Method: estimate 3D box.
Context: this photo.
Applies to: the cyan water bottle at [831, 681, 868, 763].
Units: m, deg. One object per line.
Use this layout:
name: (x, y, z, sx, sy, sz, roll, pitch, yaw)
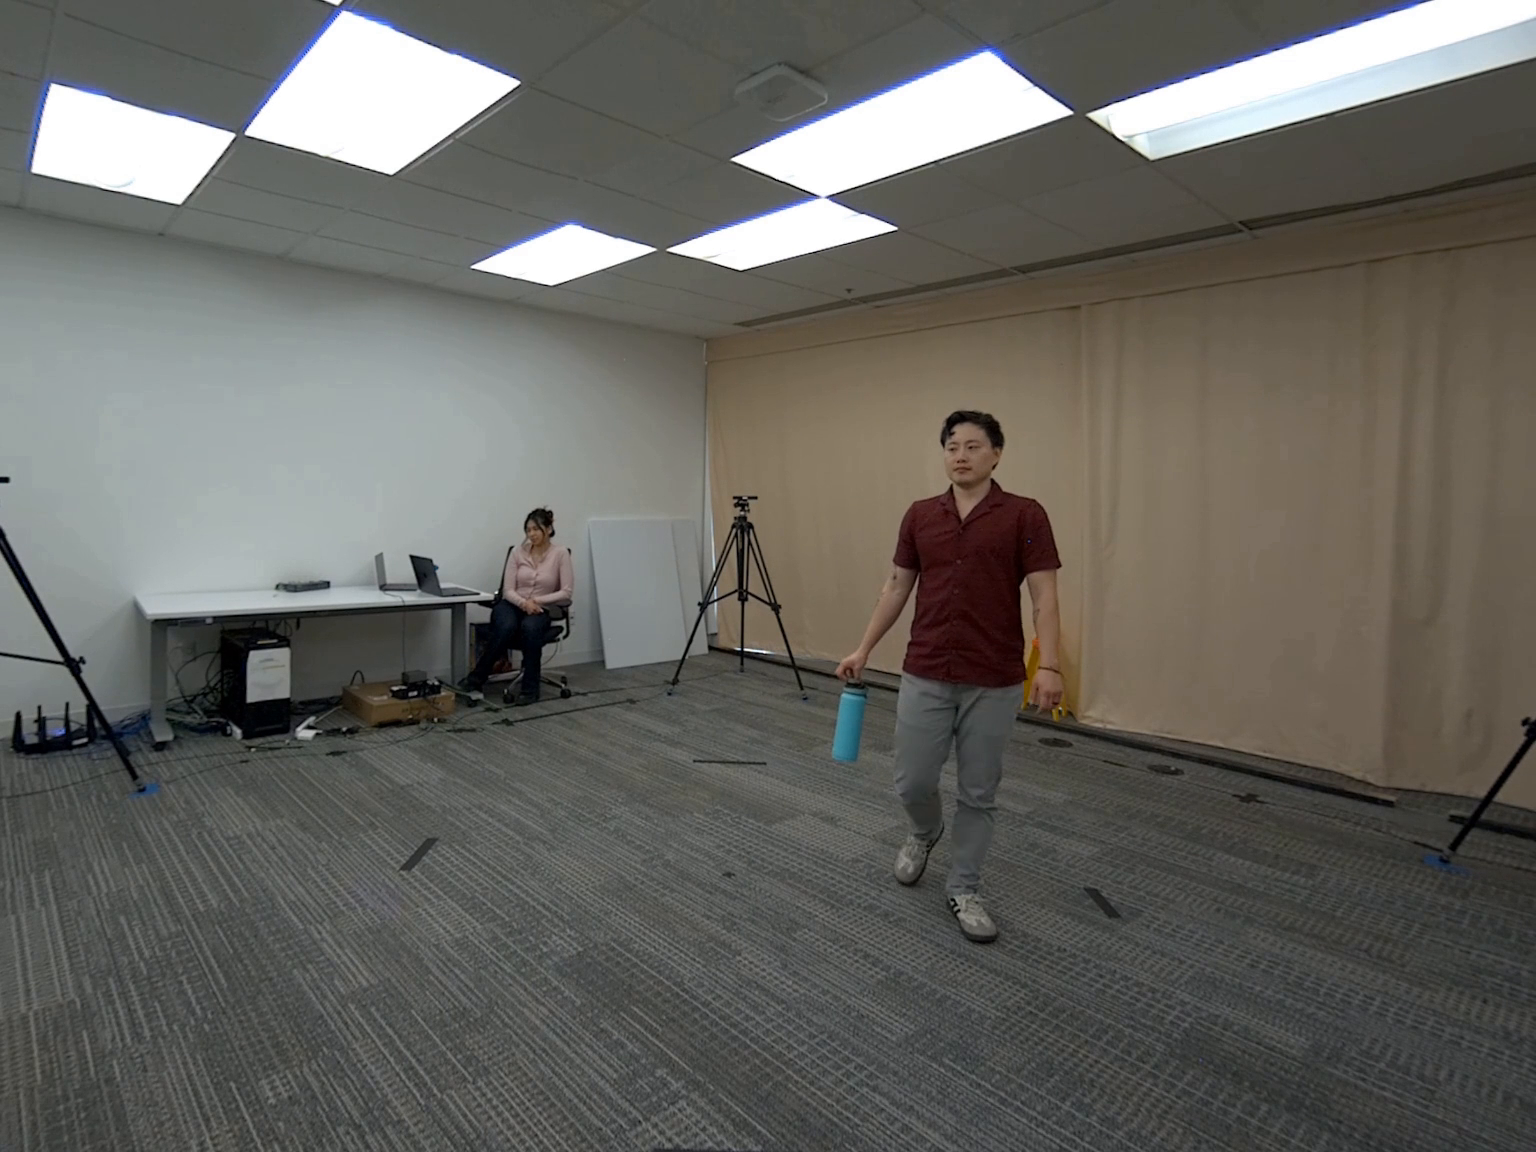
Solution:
cyan water bottle: (0.295, 0.504, 2.949, 0.092, 0.284, 0.092, 8, -3, -1)
